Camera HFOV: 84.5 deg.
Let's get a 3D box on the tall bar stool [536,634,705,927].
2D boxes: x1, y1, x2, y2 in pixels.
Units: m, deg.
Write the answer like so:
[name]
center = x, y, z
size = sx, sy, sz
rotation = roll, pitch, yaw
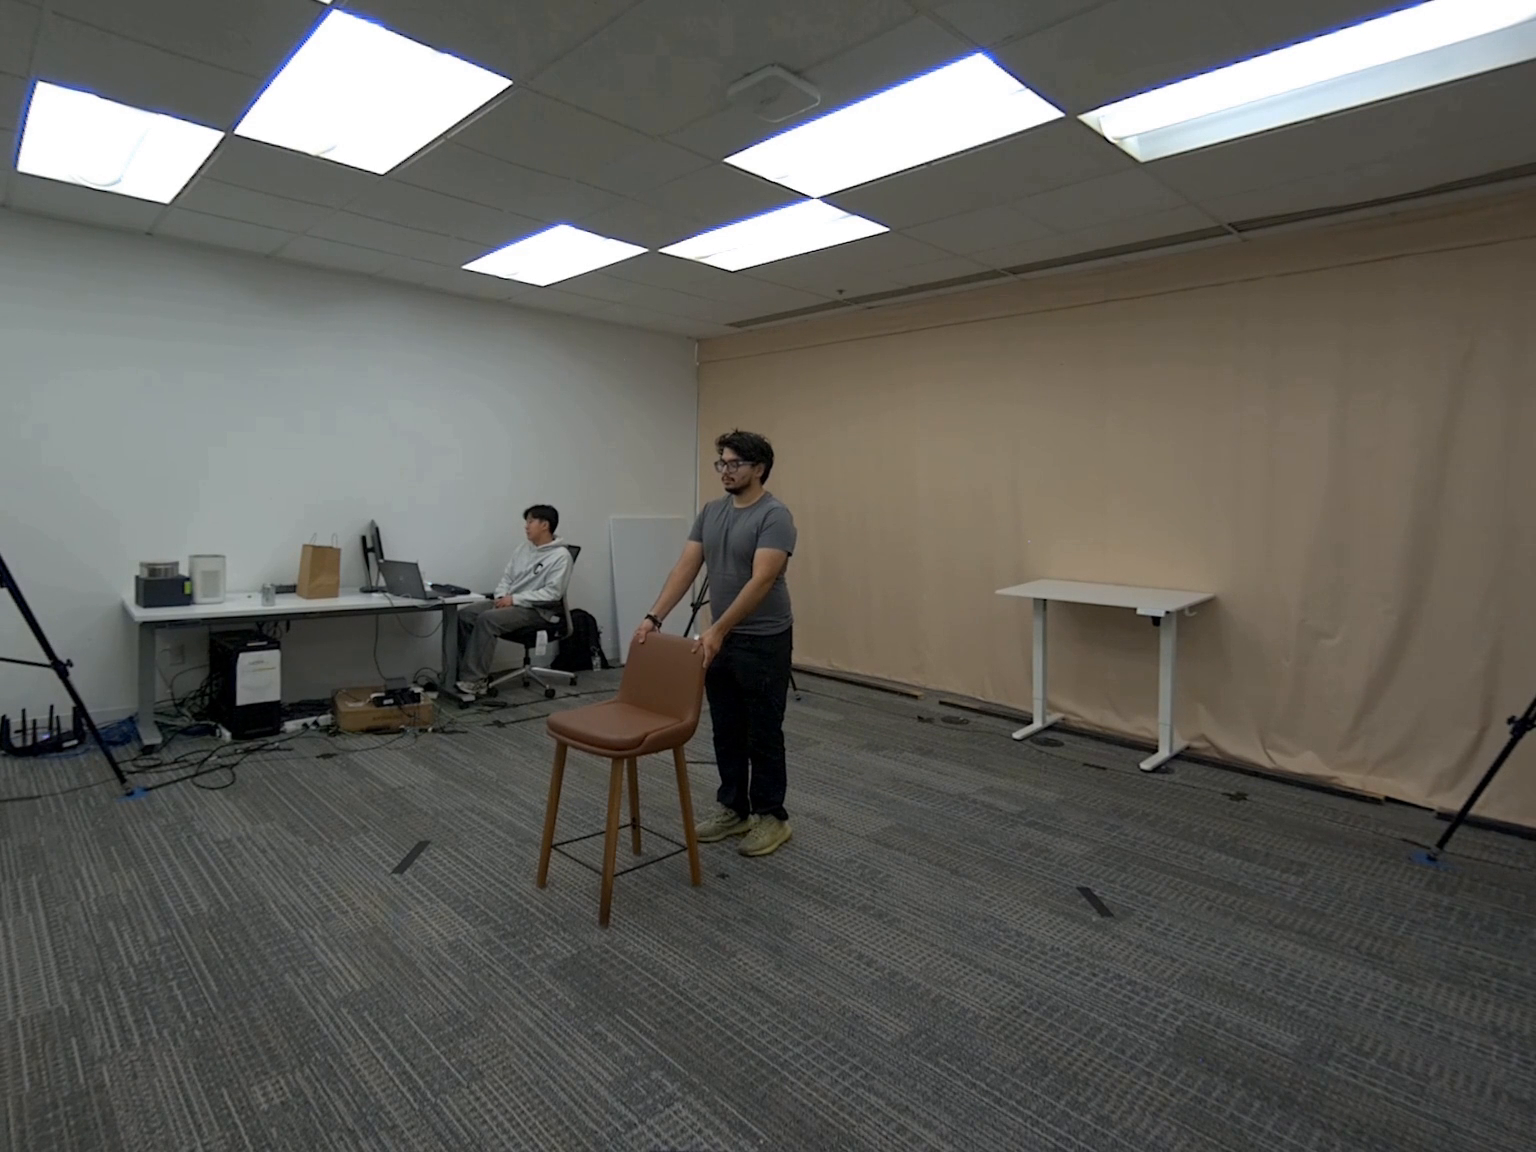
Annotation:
[tall bar stool]
center = -0.512, 0.671, 2.988
size = 0.468, 0.889, 0.456
rotation = 4, 2, 44
